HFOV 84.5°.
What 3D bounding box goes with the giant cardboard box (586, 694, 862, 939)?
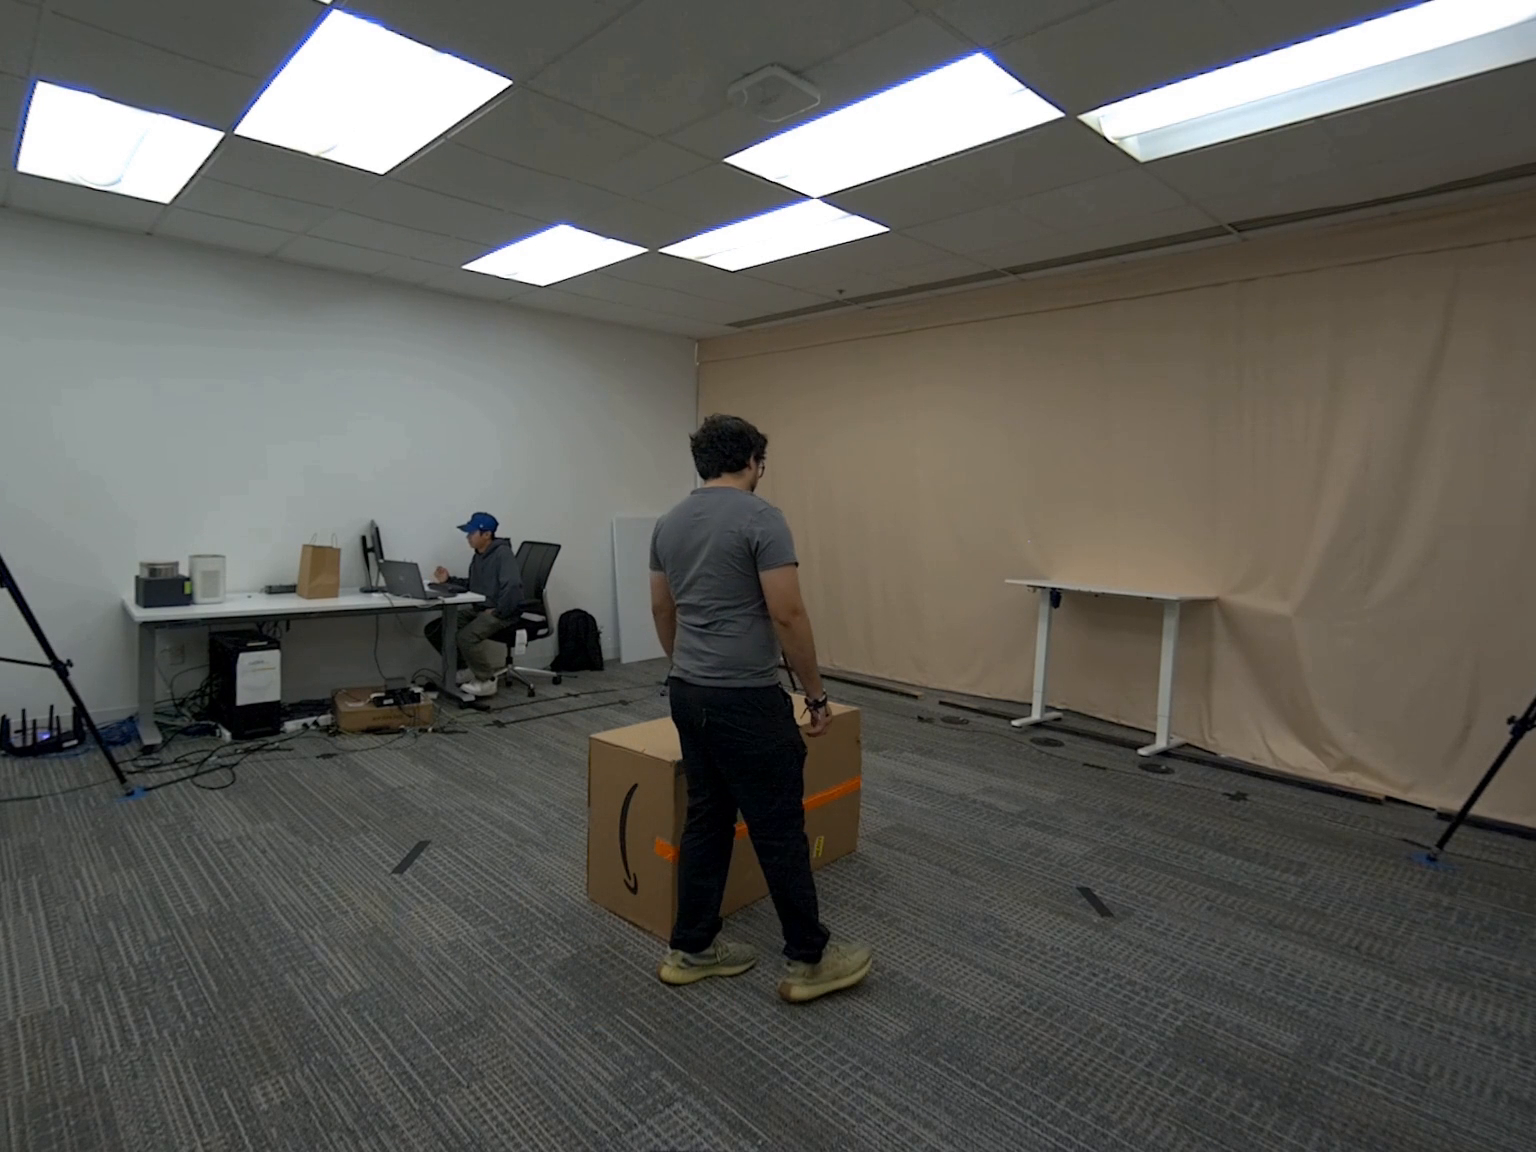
[{"bbox_3d":[-0.129,0.817,3.111,0.437,0.576,1.003,5,6,41],"label":"giant cardboard box"}]
